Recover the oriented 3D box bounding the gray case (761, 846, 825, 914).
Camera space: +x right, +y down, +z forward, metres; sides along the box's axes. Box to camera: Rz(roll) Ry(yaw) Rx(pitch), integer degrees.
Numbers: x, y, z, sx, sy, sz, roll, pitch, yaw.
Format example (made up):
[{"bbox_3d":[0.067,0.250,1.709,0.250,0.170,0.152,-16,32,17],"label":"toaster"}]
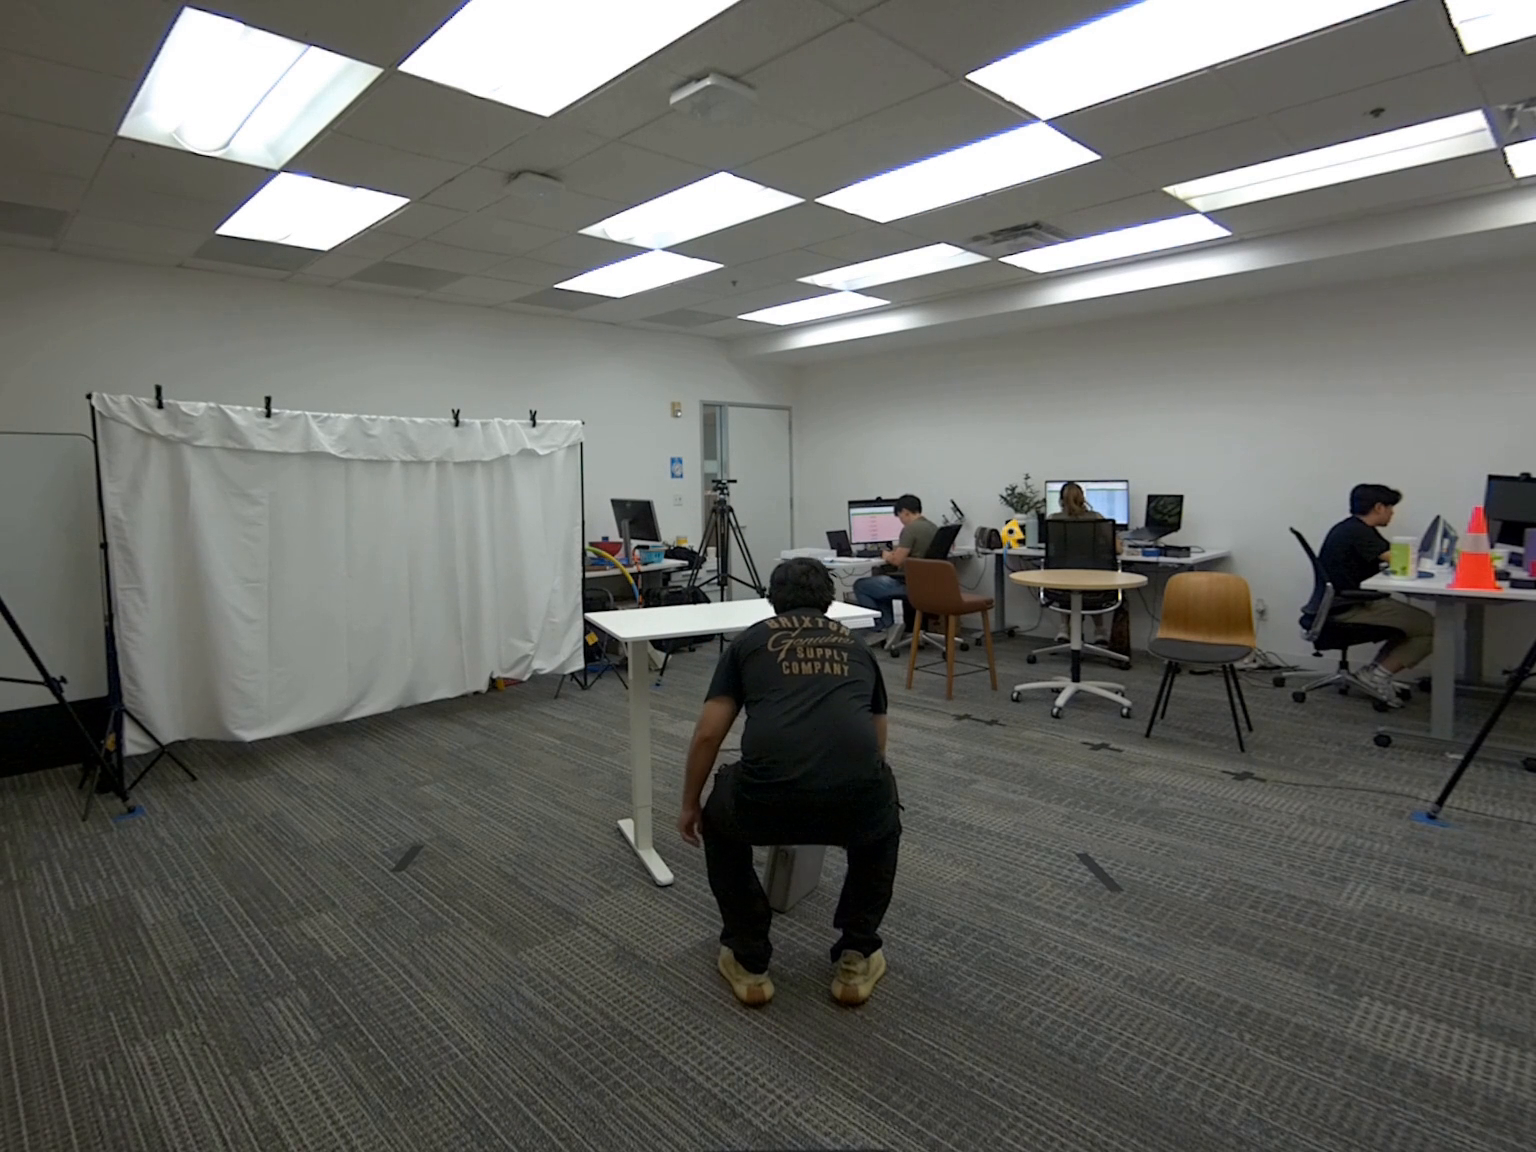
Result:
[{"bbox_3d":[0.098,0.945,2.844,0.108,0.258,0.251,15,13,33],"label":"gray case"}]
